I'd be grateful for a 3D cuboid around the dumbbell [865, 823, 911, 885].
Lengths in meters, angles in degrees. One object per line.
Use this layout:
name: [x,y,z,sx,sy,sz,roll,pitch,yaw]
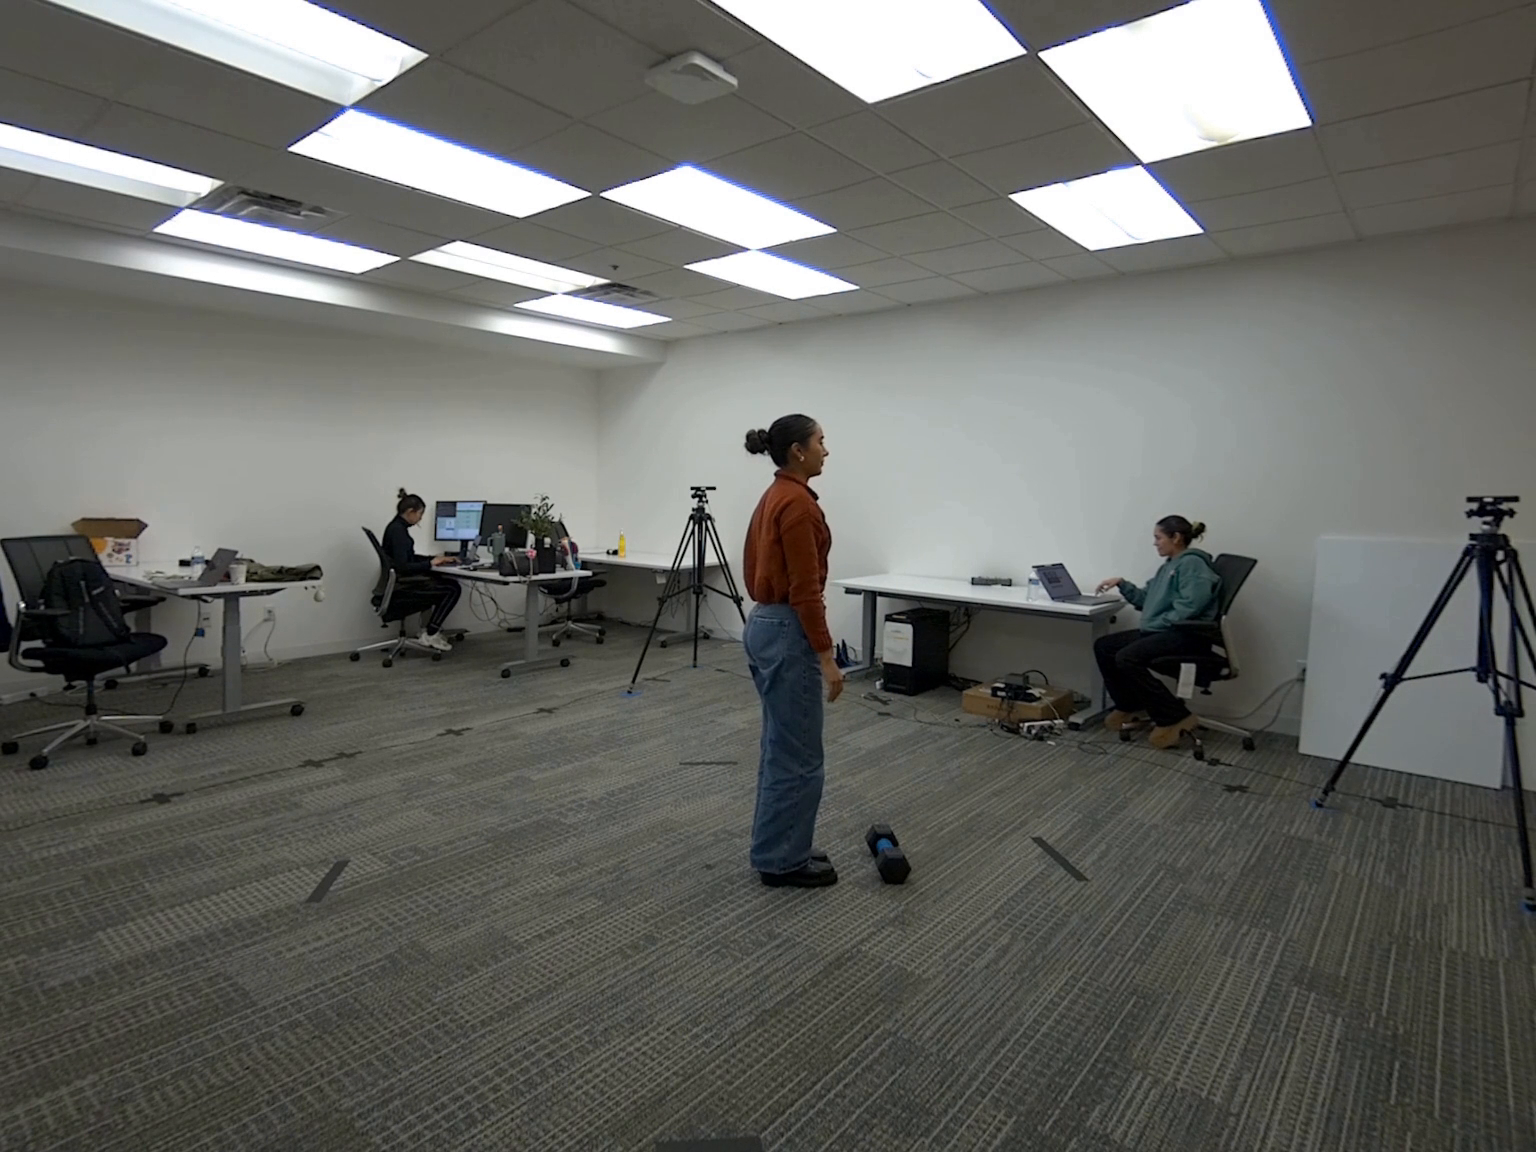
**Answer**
dumbbell: [0.433,1.024,3.145,0.109,0.122,0.295,-30,6,0]
